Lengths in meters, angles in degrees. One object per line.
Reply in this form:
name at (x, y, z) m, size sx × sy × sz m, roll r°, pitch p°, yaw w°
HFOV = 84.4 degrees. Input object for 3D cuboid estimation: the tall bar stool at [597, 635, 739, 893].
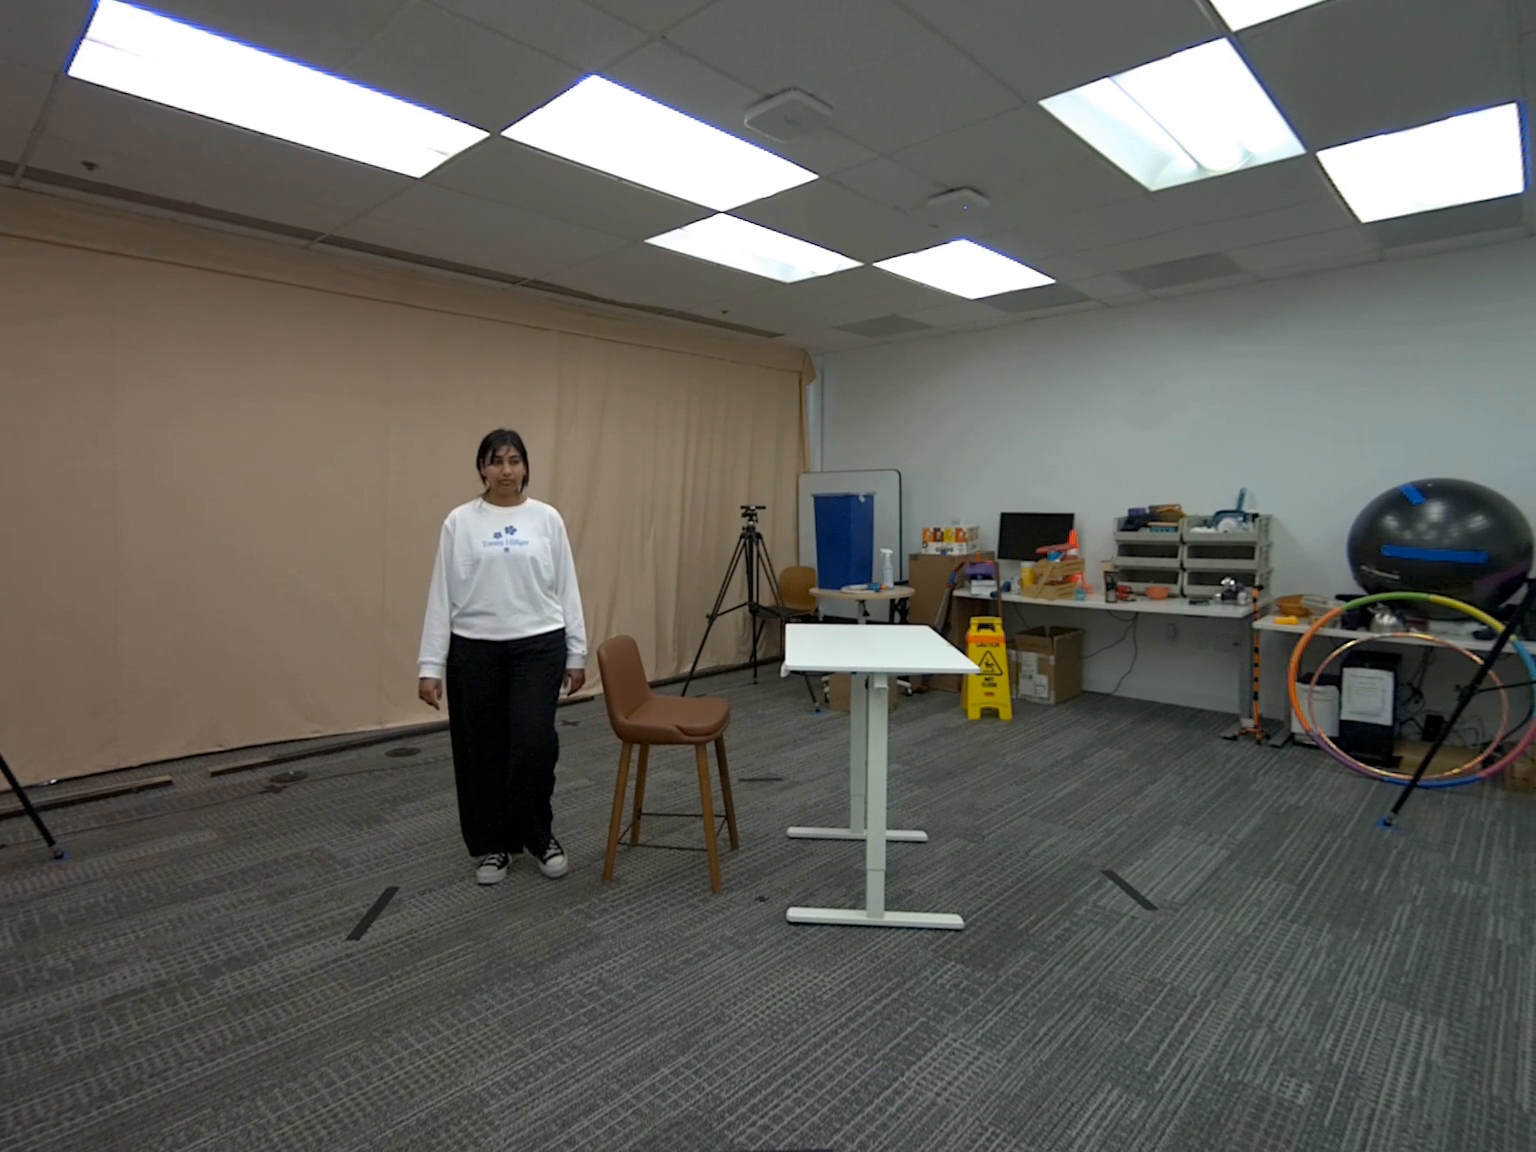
tall bar stool at (-0.380, 0.688, 3.238) m, size 0.473 × 0.888 × 0.452 m, roll -2°, pitch 3°, yaw 11°
